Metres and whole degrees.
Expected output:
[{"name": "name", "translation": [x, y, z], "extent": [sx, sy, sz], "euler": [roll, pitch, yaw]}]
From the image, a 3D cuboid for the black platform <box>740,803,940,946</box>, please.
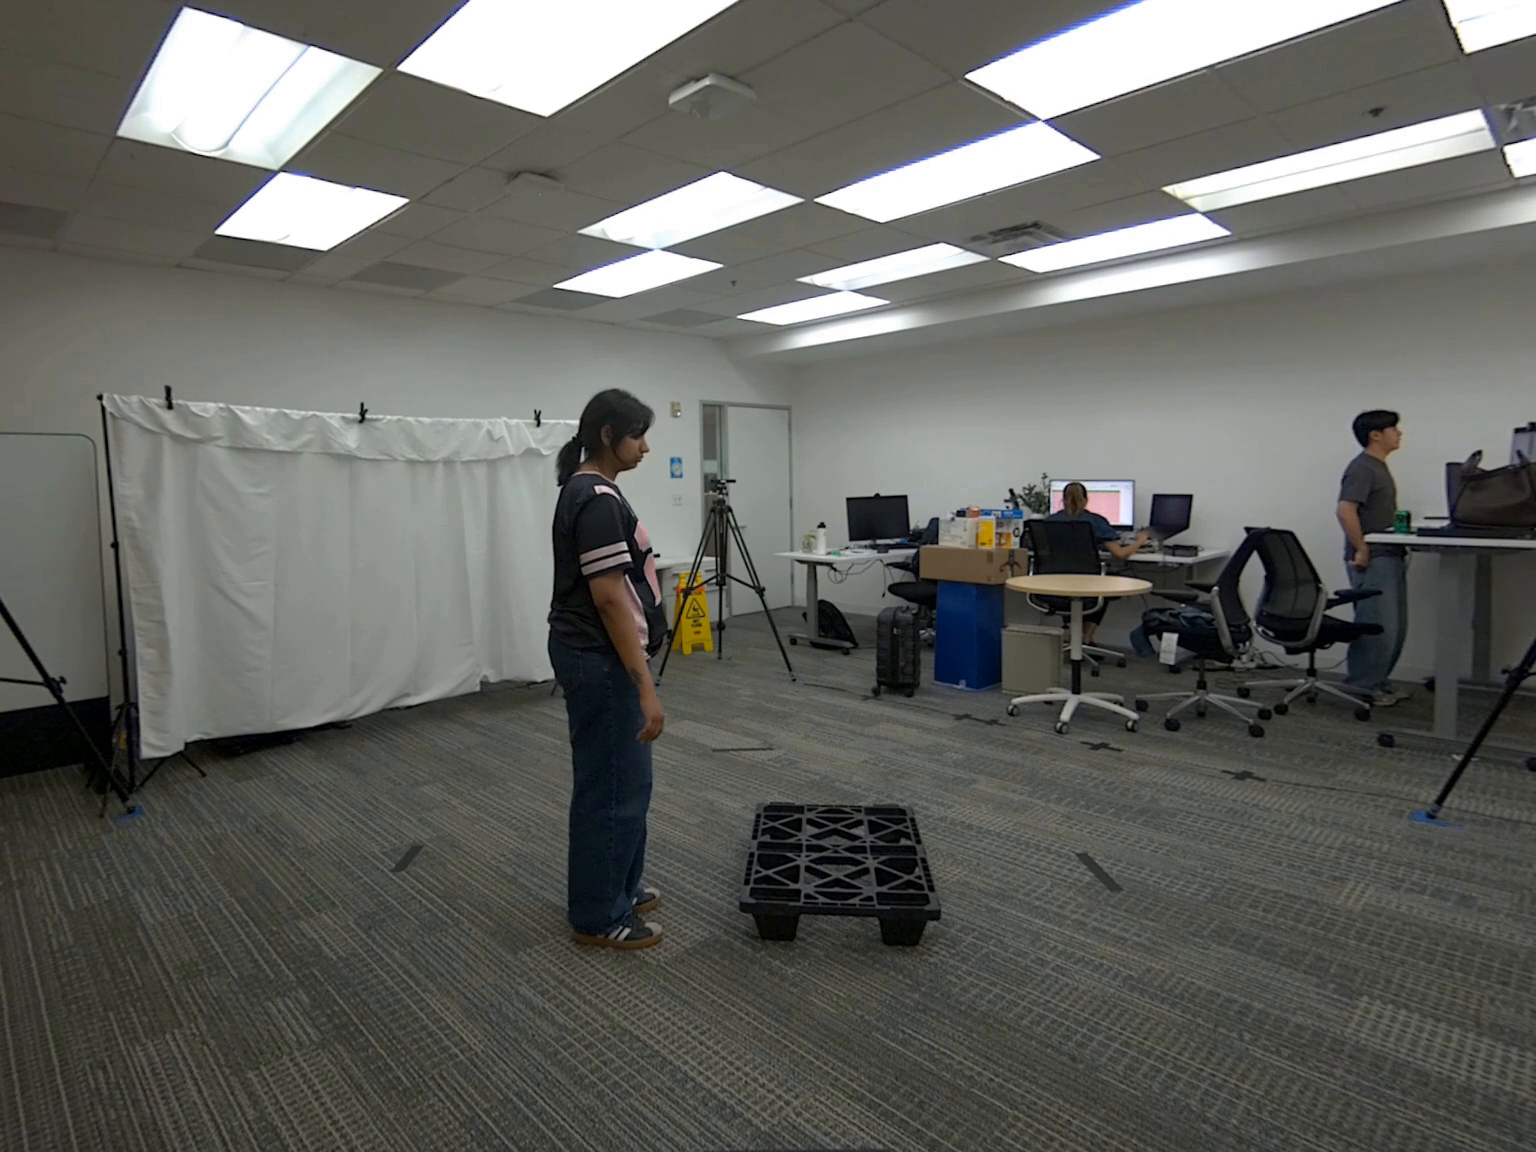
[{"name": "black platform", "translation": [0.234, 0.993, 2.926], "extent": [0.608, 0.143, 0.805], "euler": [-1, 6, 5]}]
